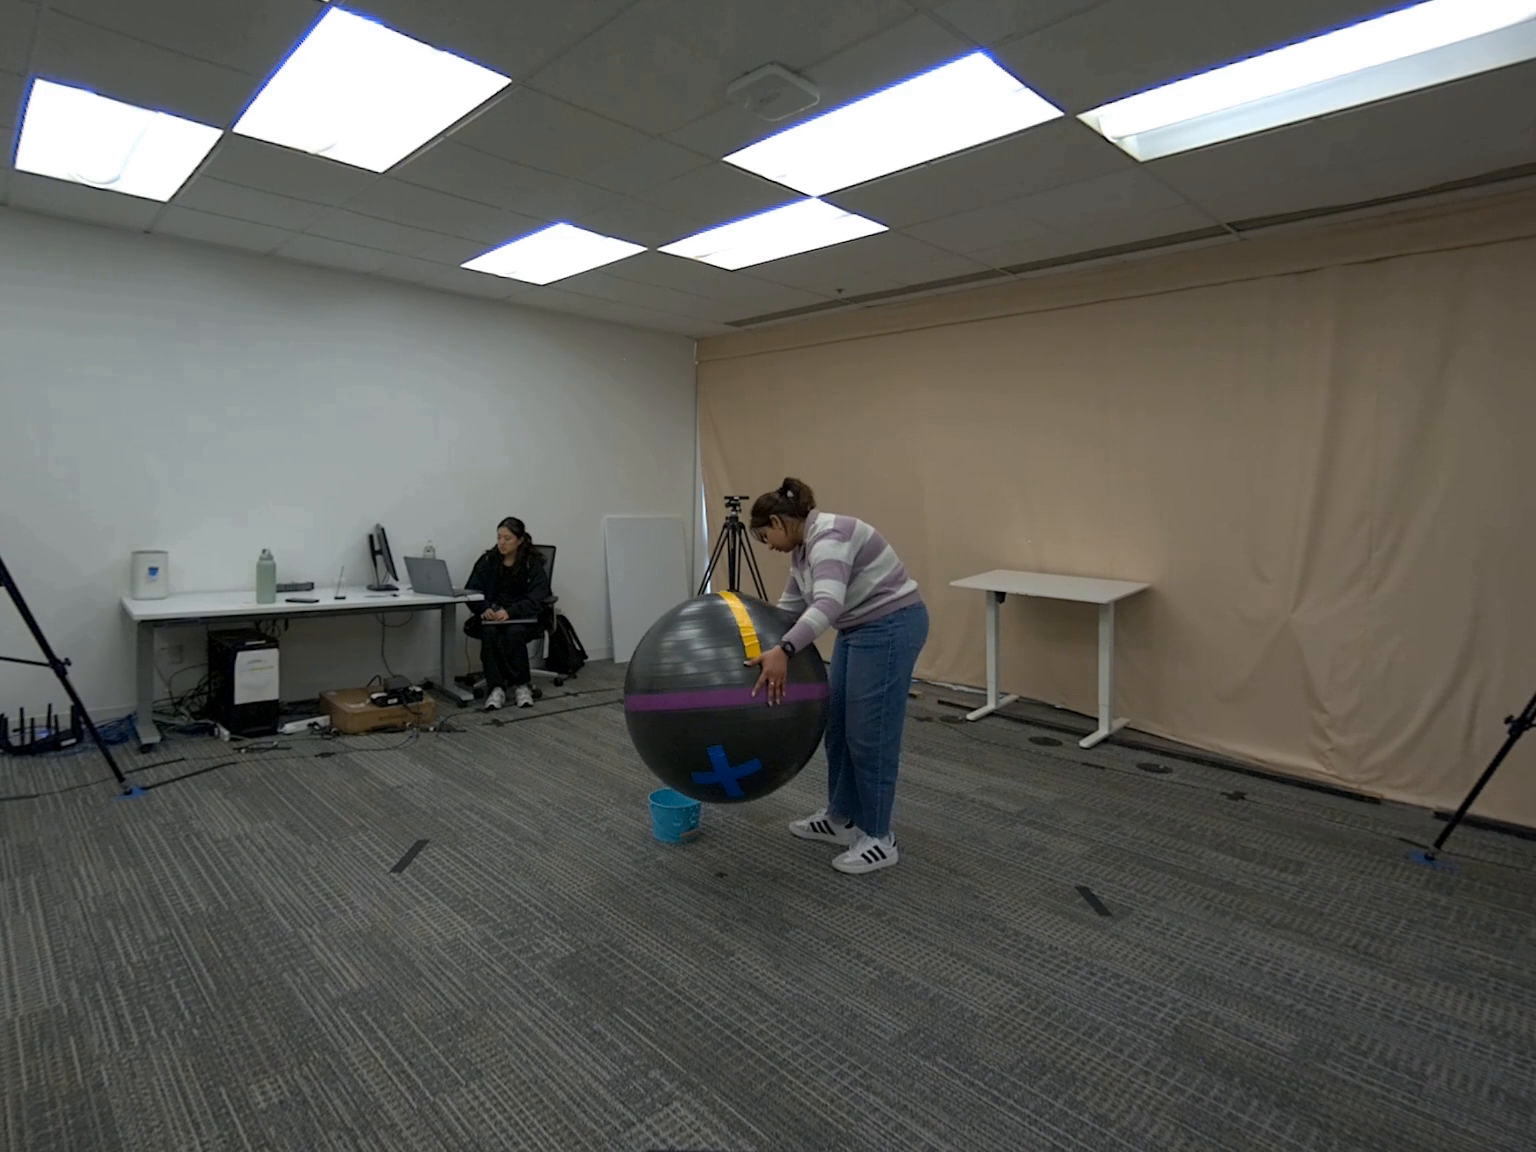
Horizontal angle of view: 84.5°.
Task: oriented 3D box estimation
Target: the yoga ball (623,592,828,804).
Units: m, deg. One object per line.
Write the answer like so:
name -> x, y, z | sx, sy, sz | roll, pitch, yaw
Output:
yoga ball -> -0.163, 0.453, 3.094 | 0.757, 0.756, 0.761 | 1, 4, -1
